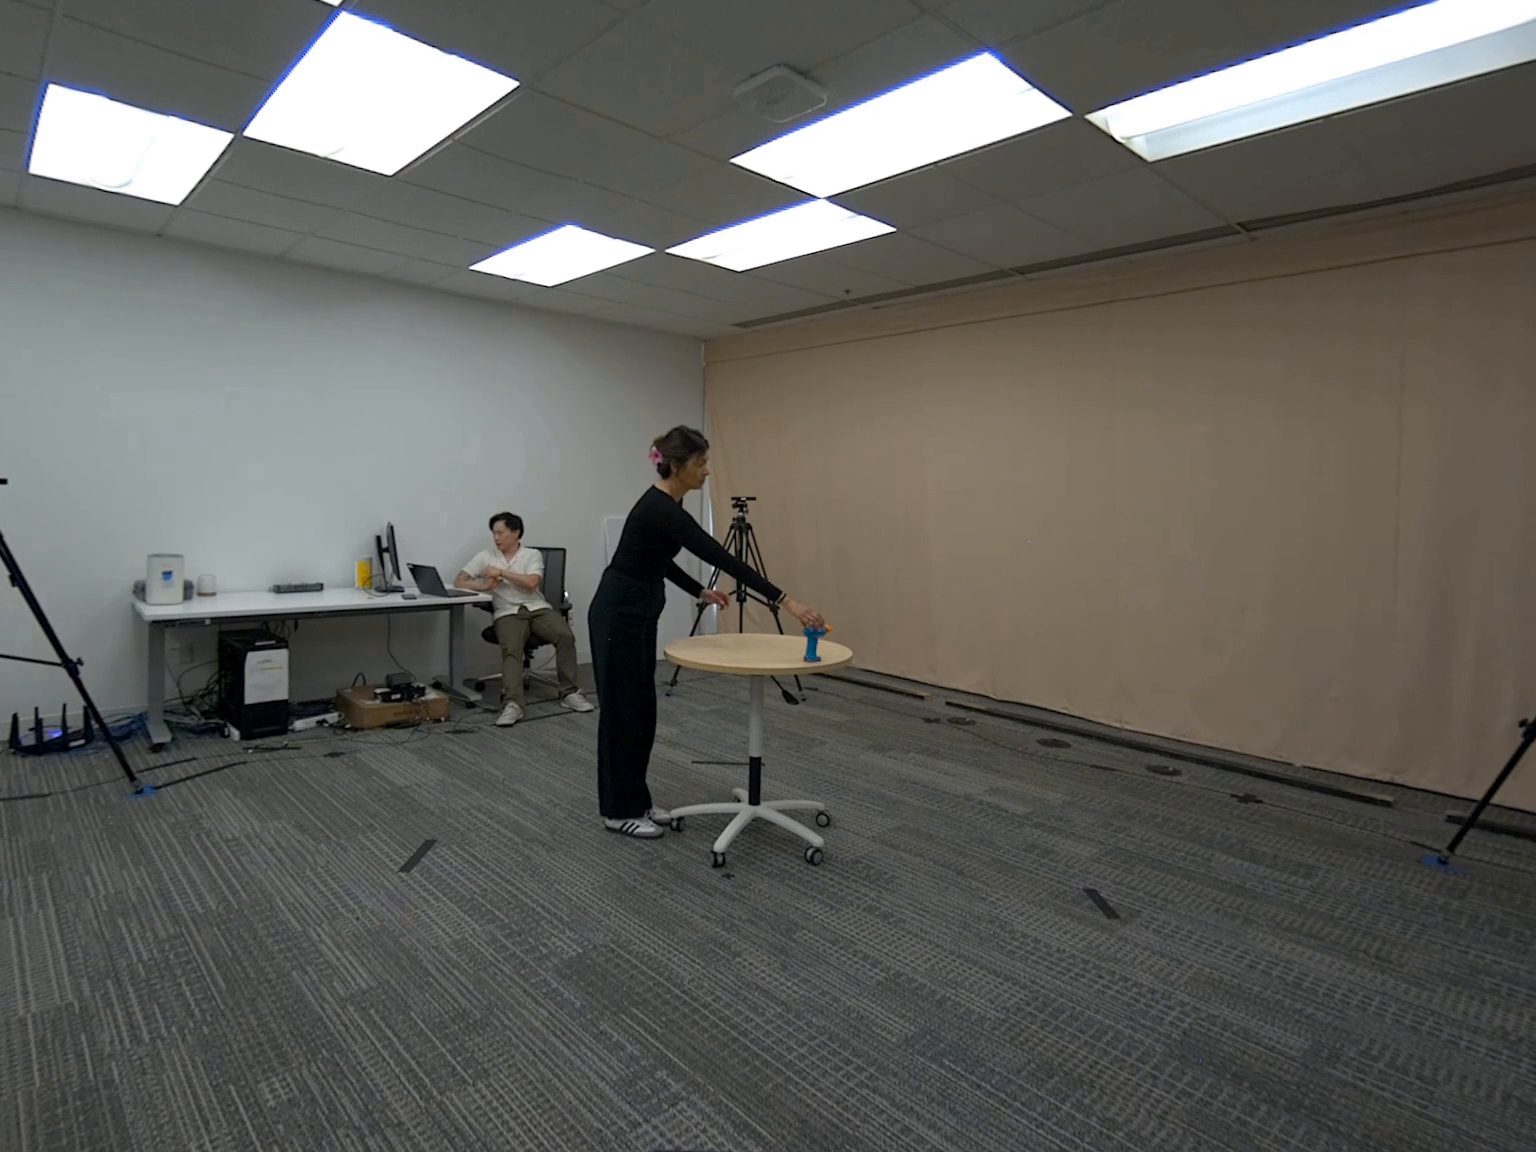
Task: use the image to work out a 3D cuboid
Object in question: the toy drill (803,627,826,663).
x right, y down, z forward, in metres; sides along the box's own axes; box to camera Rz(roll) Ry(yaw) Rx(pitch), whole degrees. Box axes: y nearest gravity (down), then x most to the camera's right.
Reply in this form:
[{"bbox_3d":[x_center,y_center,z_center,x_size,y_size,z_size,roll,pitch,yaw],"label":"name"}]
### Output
[{"bbox_3d":[0.189,0.249,3.223,0.062,0.146,0.166,3,4,37],"label":"toy drill"}]
